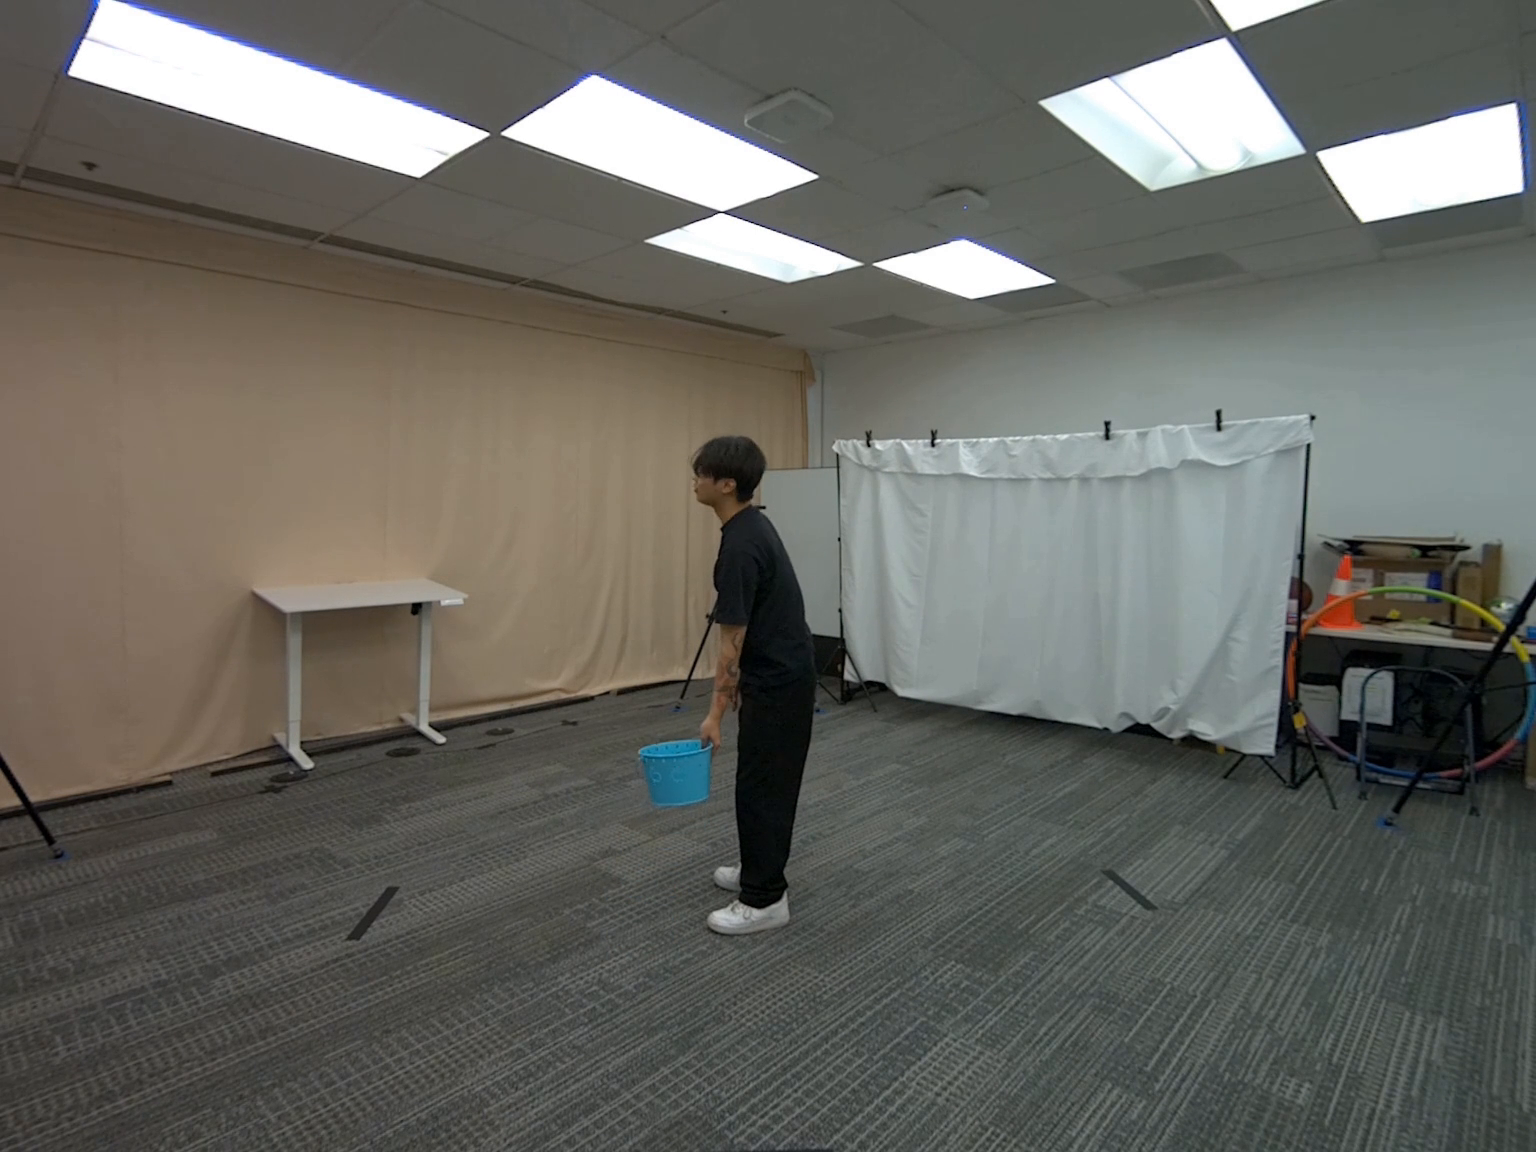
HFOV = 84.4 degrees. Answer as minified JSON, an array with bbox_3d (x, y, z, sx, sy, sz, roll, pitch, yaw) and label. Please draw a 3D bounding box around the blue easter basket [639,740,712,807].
[{"bbox_3d":[-0.279,0.608,2.576,0.243,0.156,0.244,-4,0,-2],"label":"blue easter basket"}]
